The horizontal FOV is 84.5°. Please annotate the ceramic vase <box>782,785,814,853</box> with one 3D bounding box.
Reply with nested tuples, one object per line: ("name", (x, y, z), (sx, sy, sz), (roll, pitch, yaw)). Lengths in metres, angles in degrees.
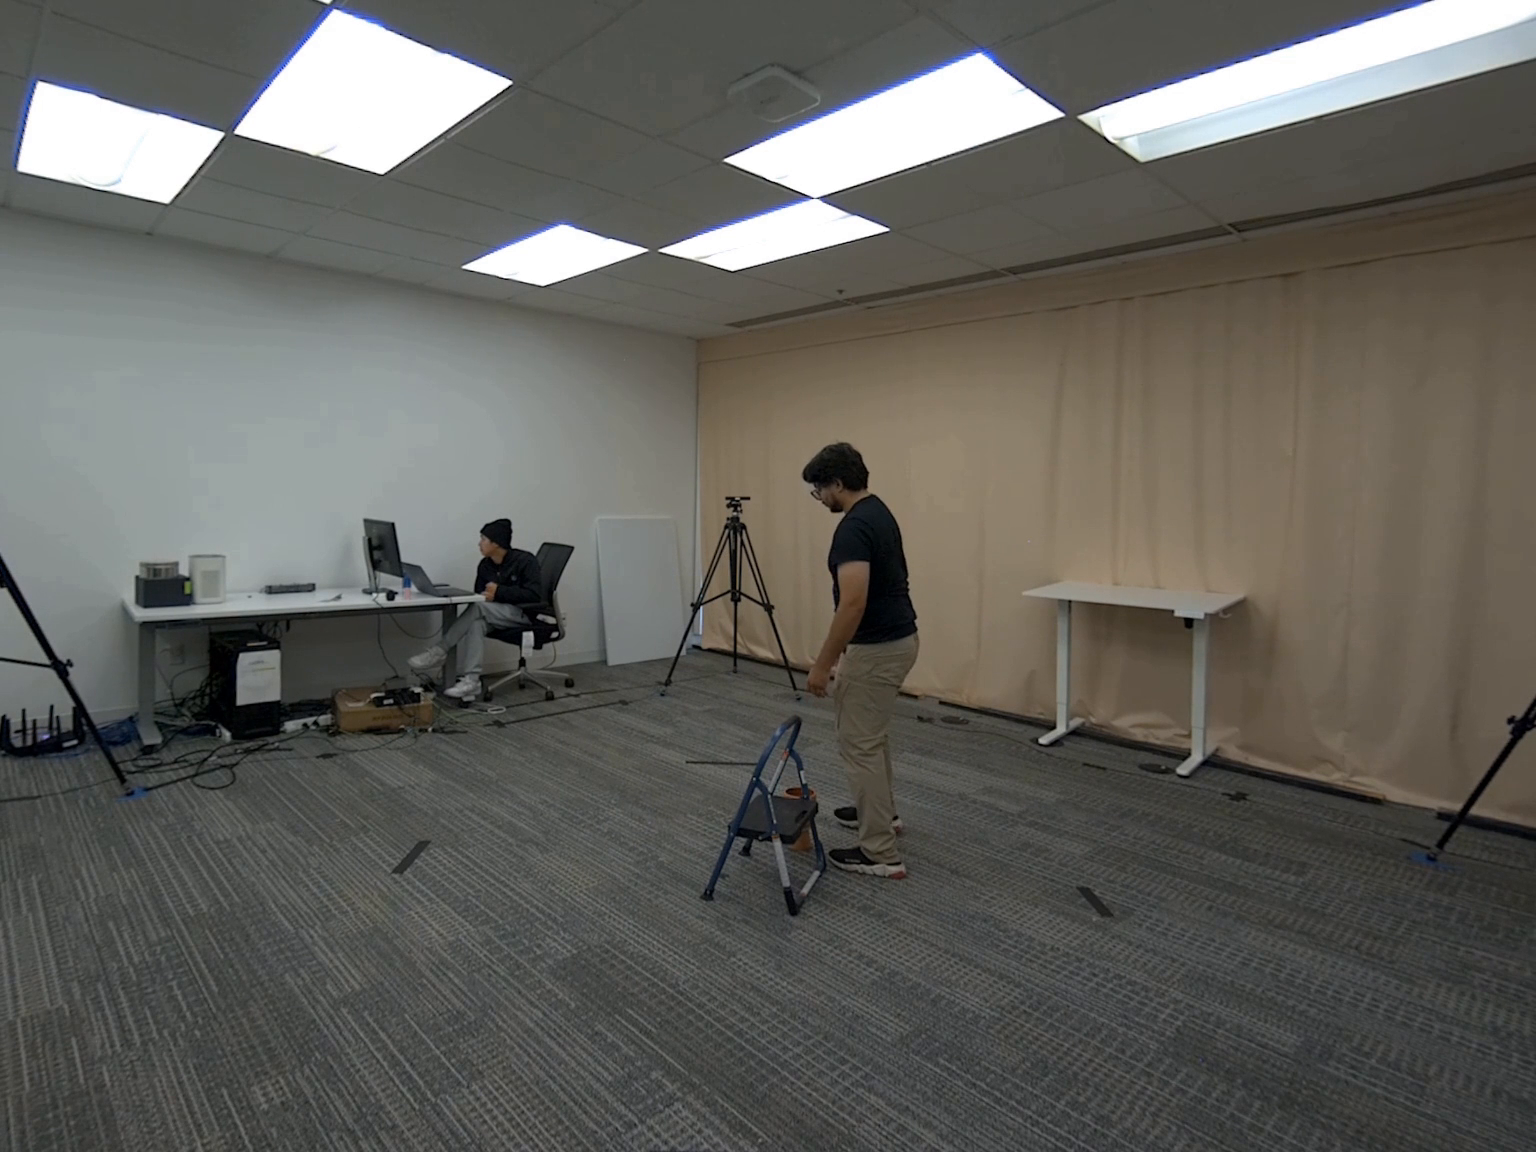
("ceramic vase", (0.125, 0.978, 3.390), (0.156, 0.219, 0.137), (-1, 4, -29))
